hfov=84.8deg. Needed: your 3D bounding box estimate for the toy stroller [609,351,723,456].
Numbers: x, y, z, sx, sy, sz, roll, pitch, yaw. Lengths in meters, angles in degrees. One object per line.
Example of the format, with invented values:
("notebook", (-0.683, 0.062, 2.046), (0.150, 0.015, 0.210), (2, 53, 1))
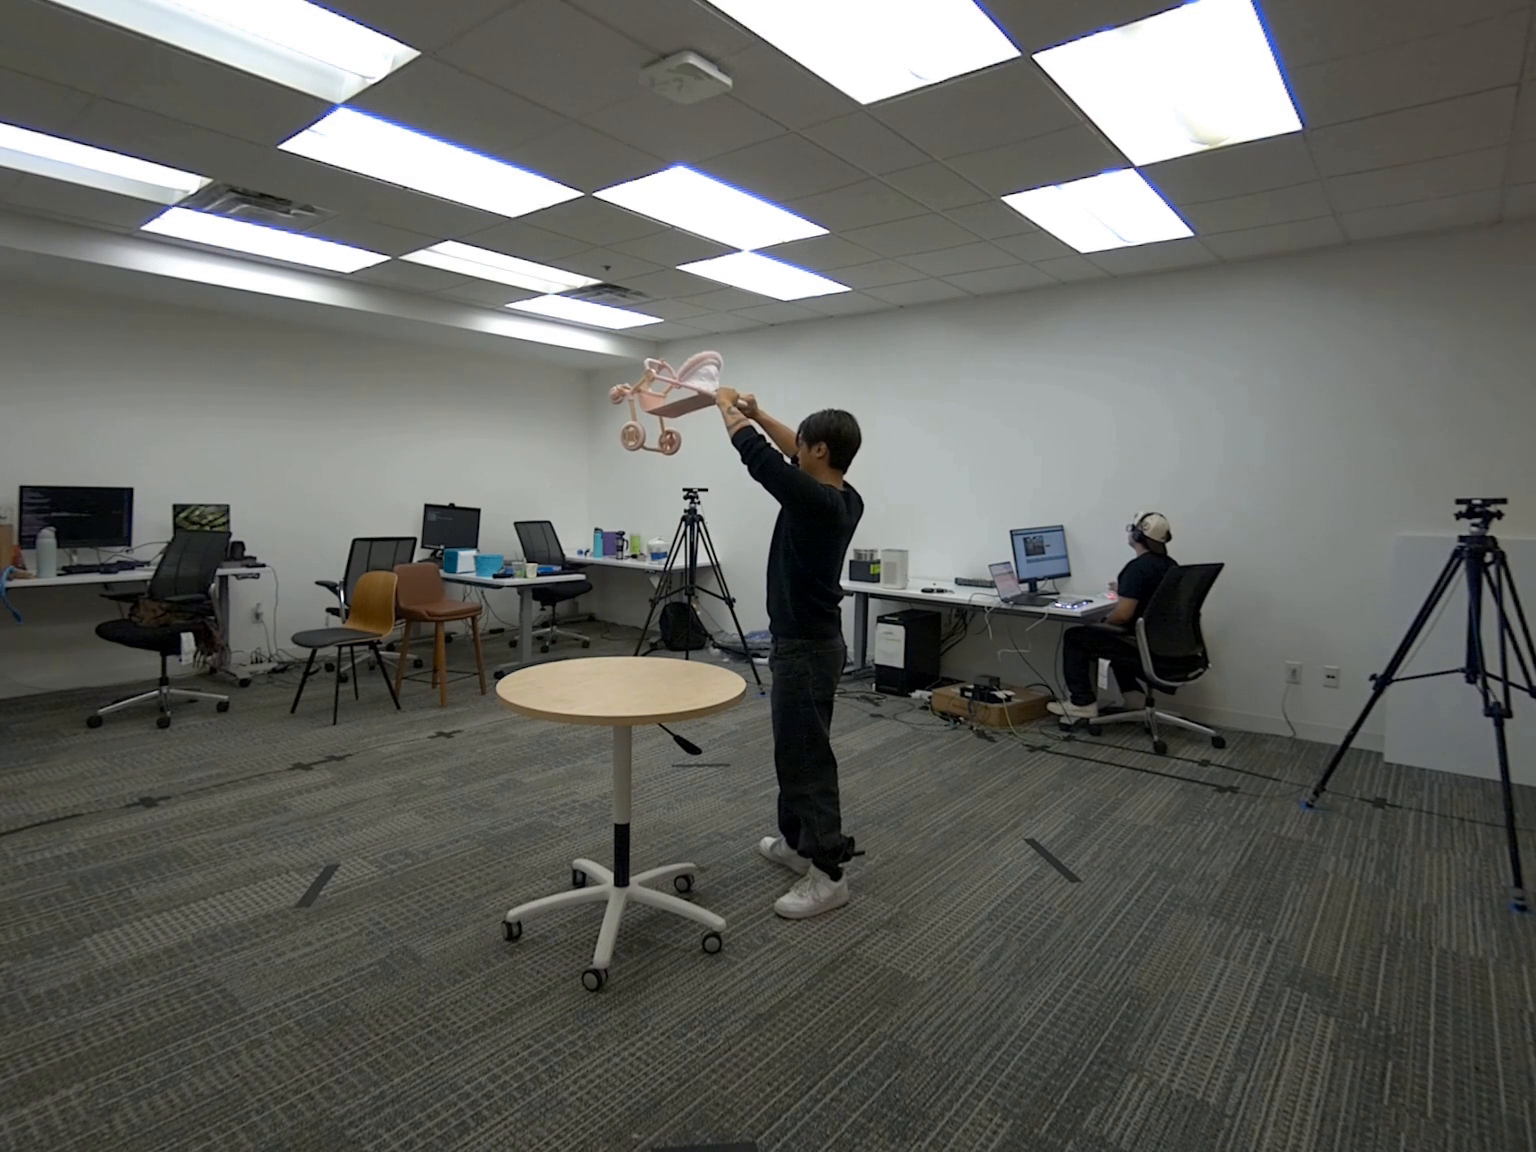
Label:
("toy stroller", (-0.377, -0.687, 3.244), (0.541, 0.348, 0.273), (-27, -16, 28))
